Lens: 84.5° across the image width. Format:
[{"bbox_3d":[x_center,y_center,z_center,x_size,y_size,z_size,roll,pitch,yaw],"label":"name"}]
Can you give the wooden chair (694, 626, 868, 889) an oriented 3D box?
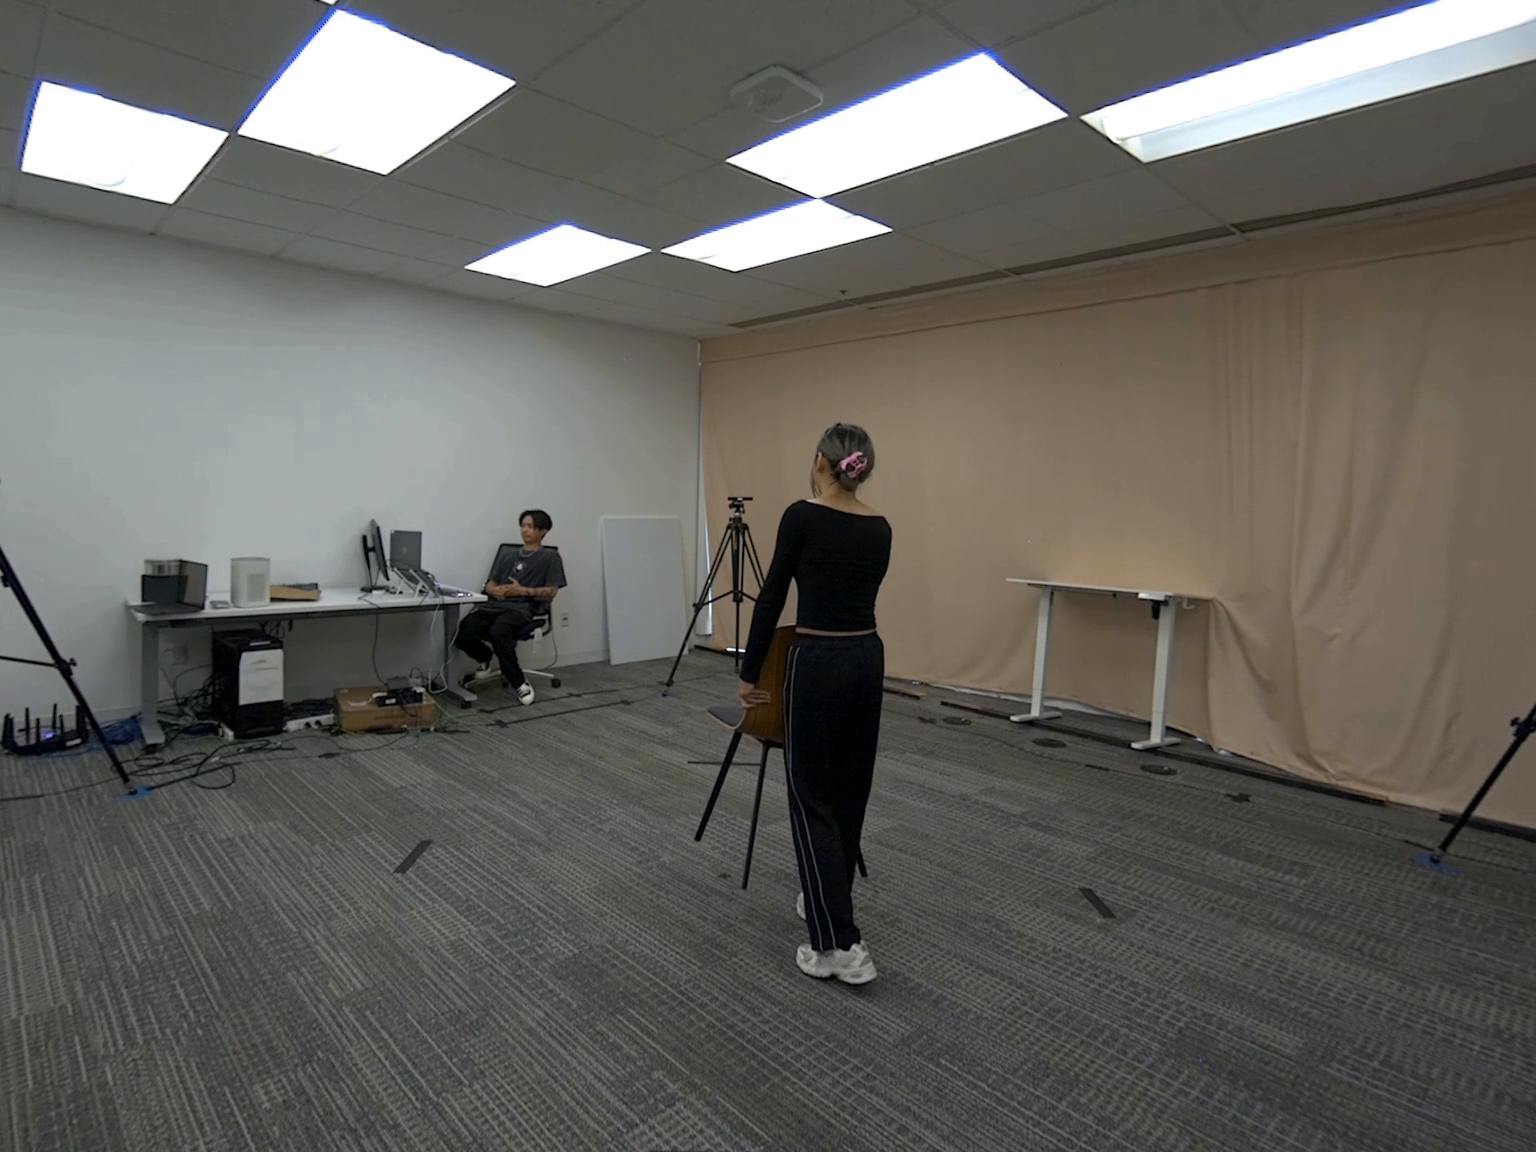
[{"bbox_3d":[0.048,0.556,2.926,0.470,0.874,0.534,2,5,-22],"label":"wooden chair"}]
